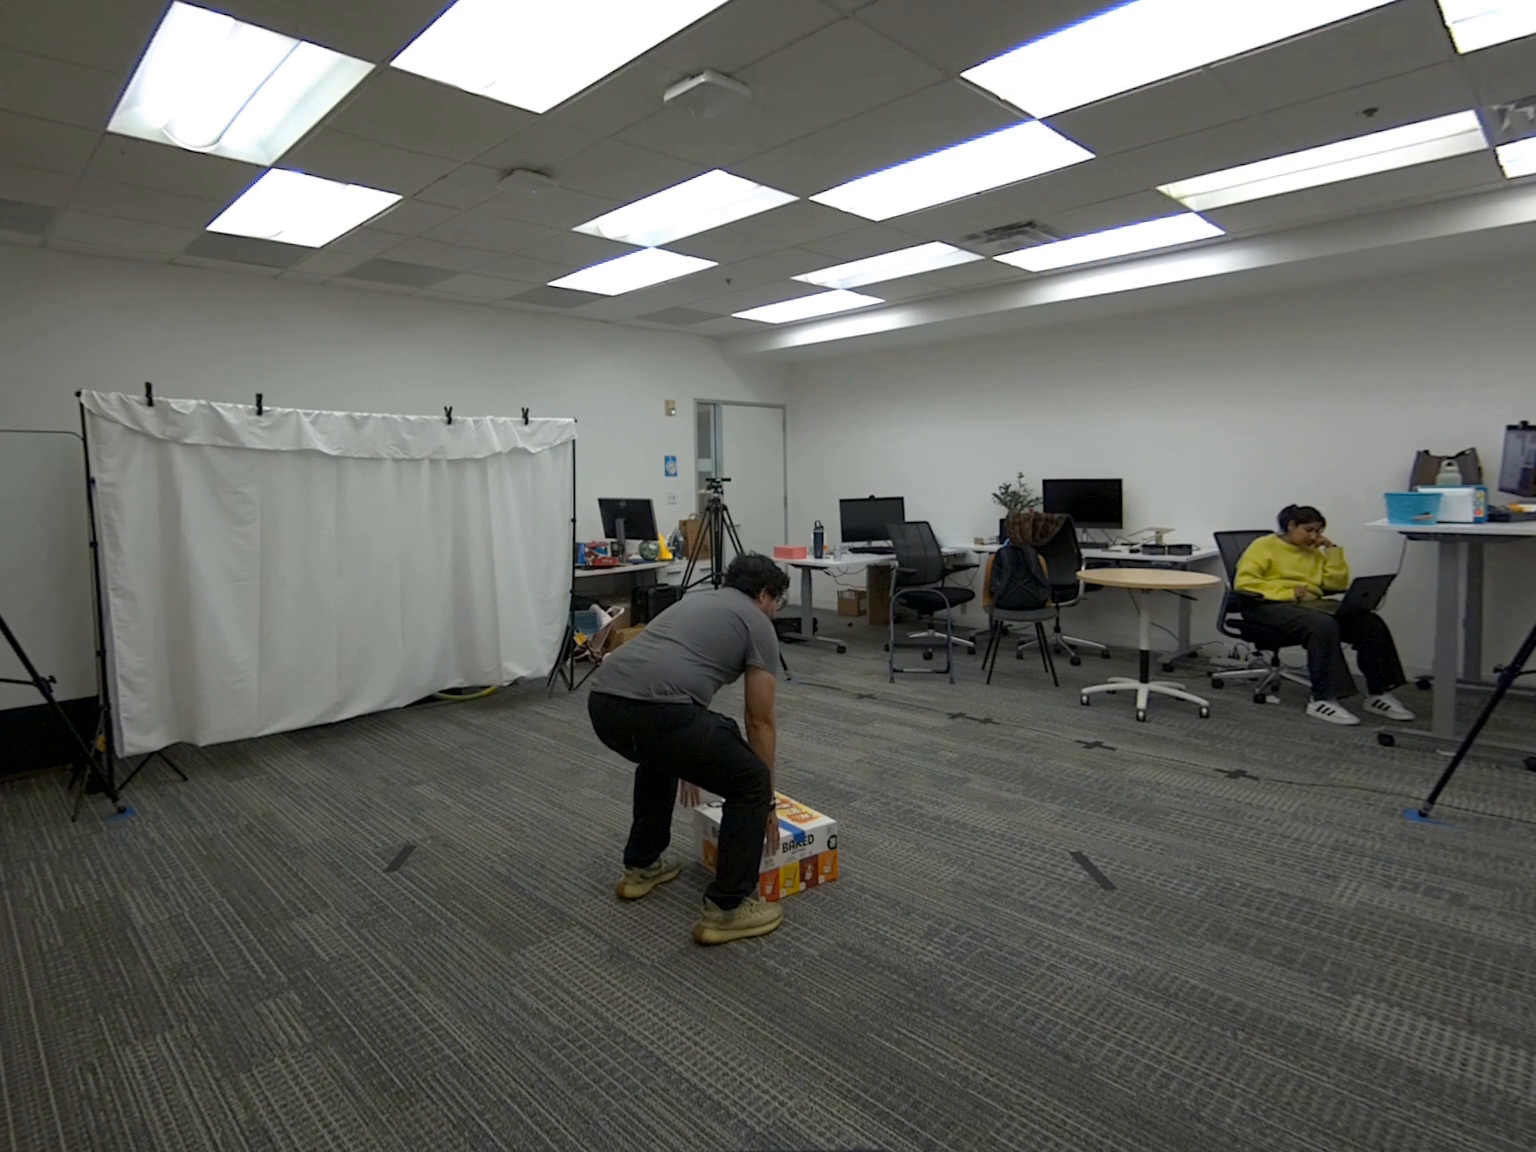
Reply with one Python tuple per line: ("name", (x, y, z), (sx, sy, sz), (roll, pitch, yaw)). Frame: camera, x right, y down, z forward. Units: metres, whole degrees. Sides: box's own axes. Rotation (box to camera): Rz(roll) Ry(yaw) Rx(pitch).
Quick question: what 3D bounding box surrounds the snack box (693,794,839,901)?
("snack box", (-0.015, 0.946, 3.041), (0.332, 0.205, 0.417), (-5, 7, -35))
